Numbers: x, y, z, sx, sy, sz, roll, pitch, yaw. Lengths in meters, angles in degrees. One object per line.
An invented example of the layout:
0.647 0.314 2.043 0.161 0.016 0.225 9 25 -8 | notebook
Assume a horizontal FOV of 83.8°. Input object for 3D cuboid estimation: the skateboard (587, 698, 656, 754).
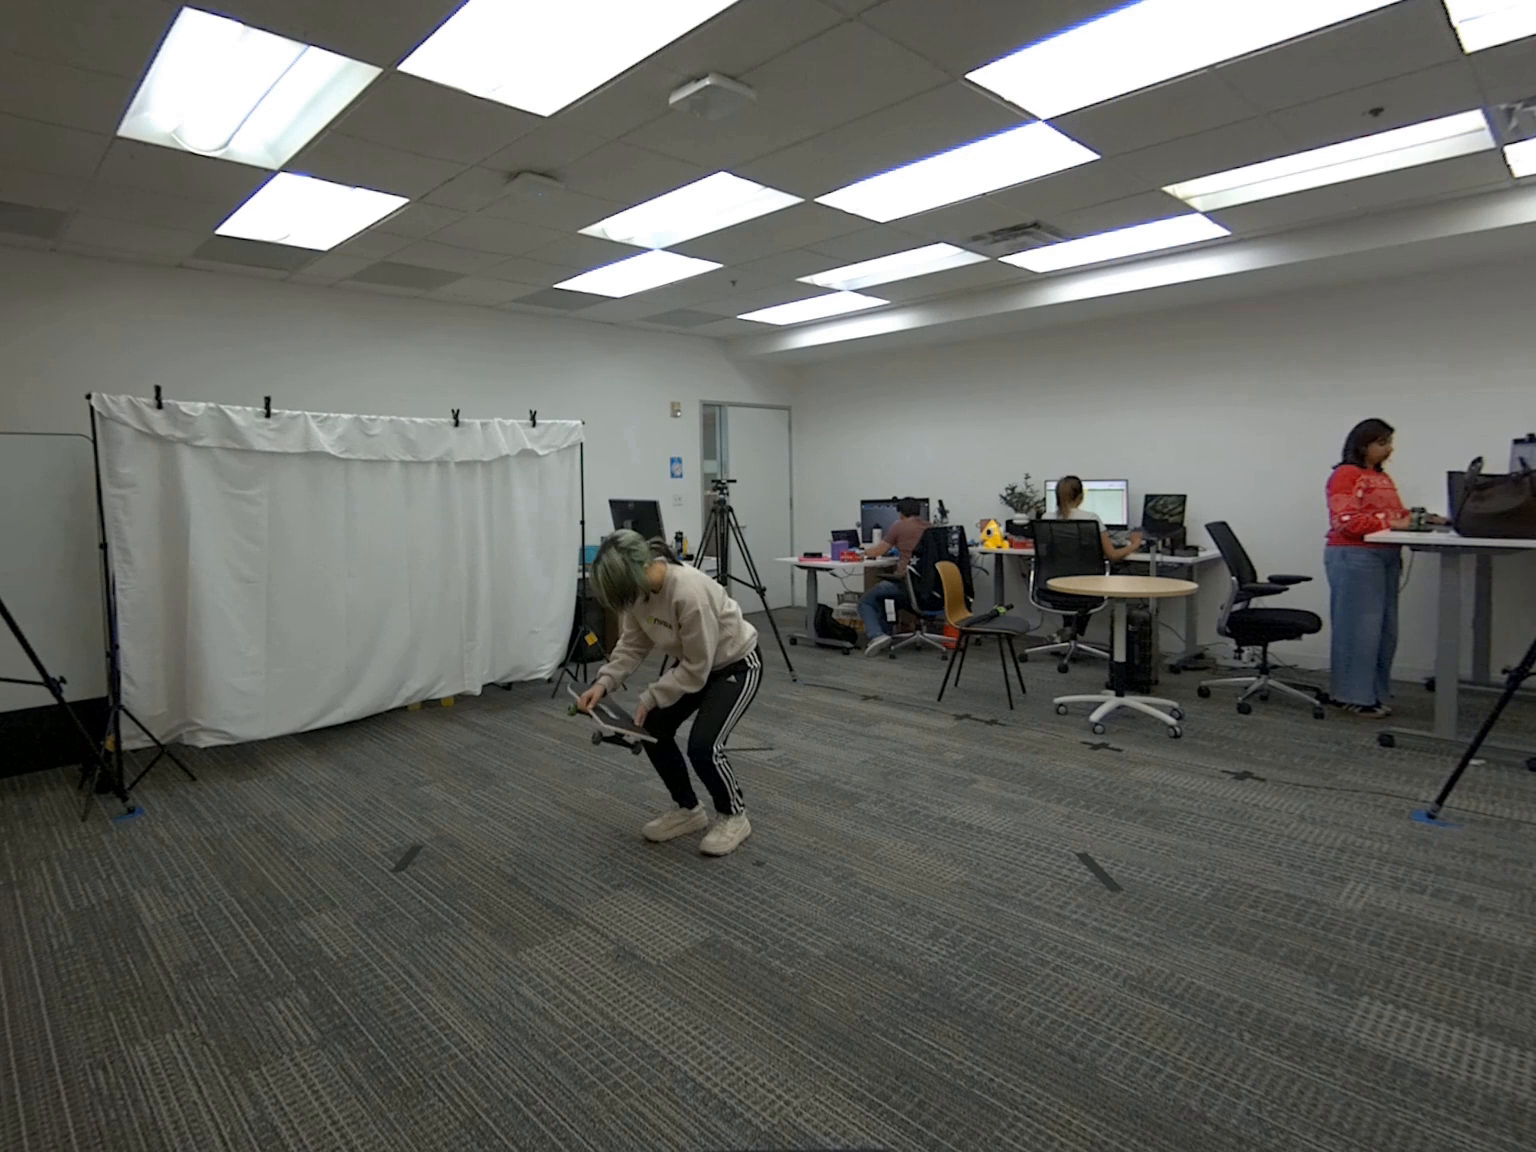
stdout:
-0.598 0.540 3.177 0.188 0.110 0.805 21 -4 -25 | skateboard
